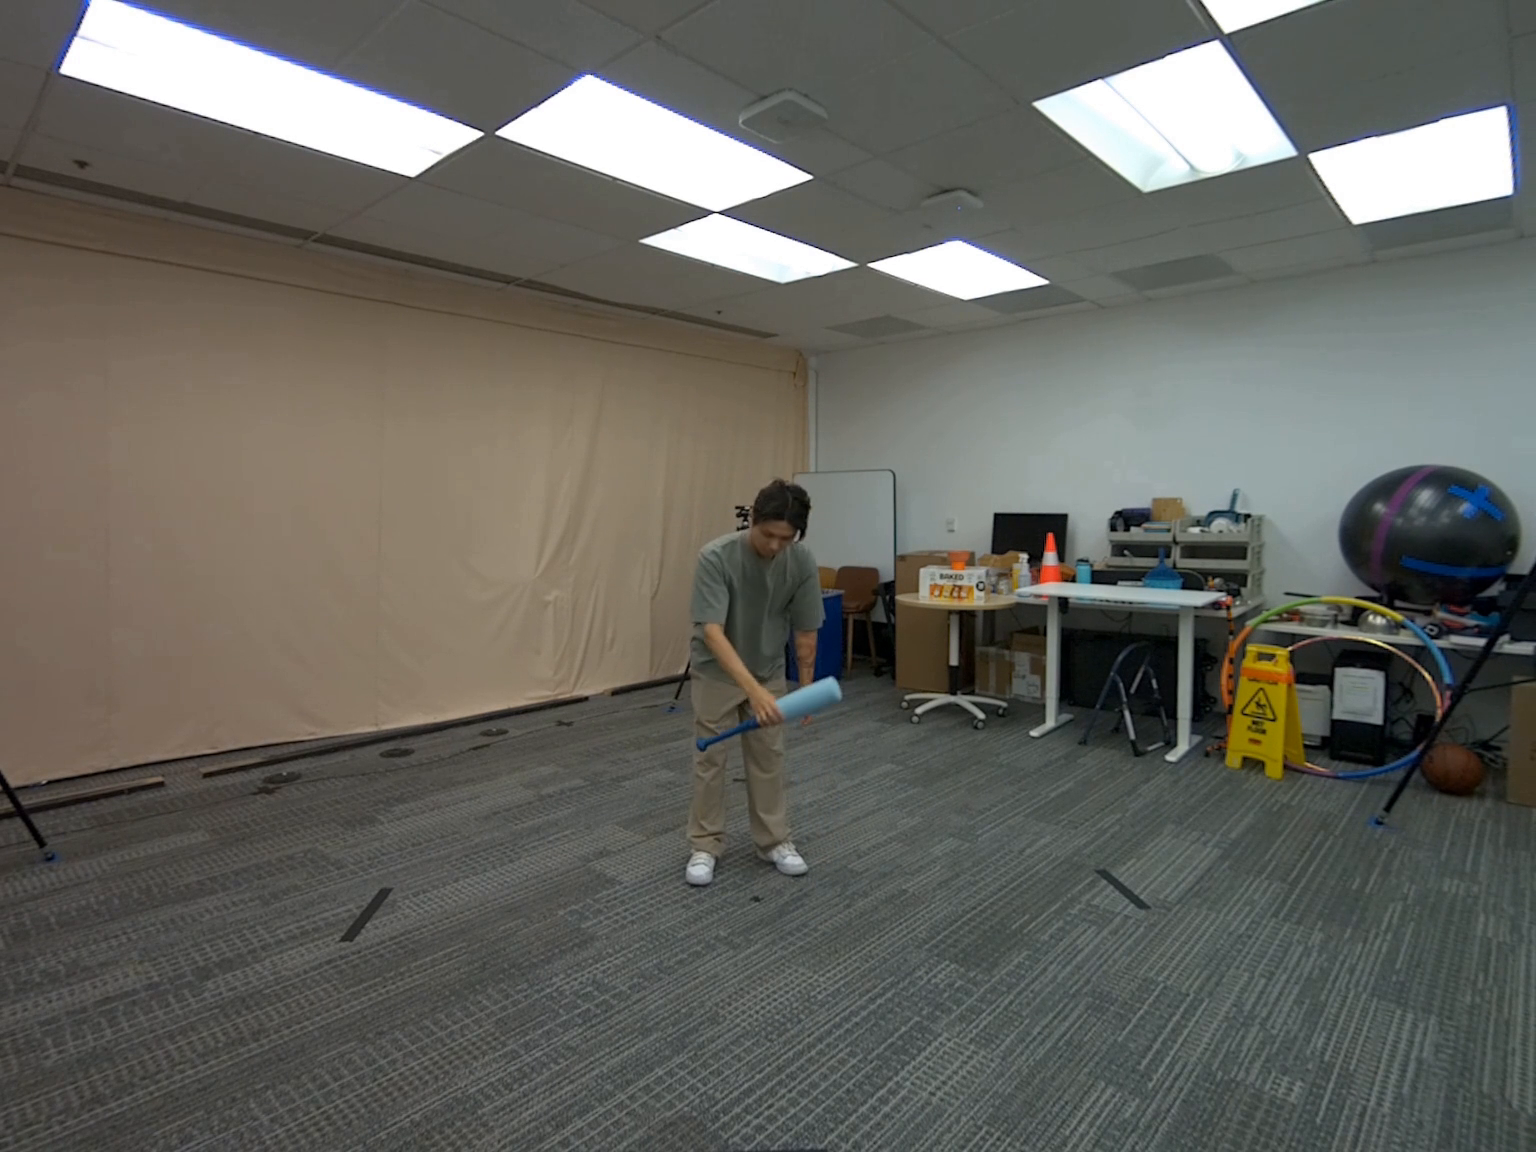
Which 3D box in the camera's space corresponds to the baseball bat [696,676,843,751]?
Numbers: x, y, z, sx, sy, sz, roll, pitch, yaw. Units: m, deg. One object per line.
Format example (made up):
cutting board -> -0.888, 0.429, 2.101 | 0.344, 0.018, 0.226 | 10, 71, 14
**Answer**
baseball bat -> -0.003, 0.479, 2.827 | 0.550, 0.089, 0.087 | -25, -4, 18
